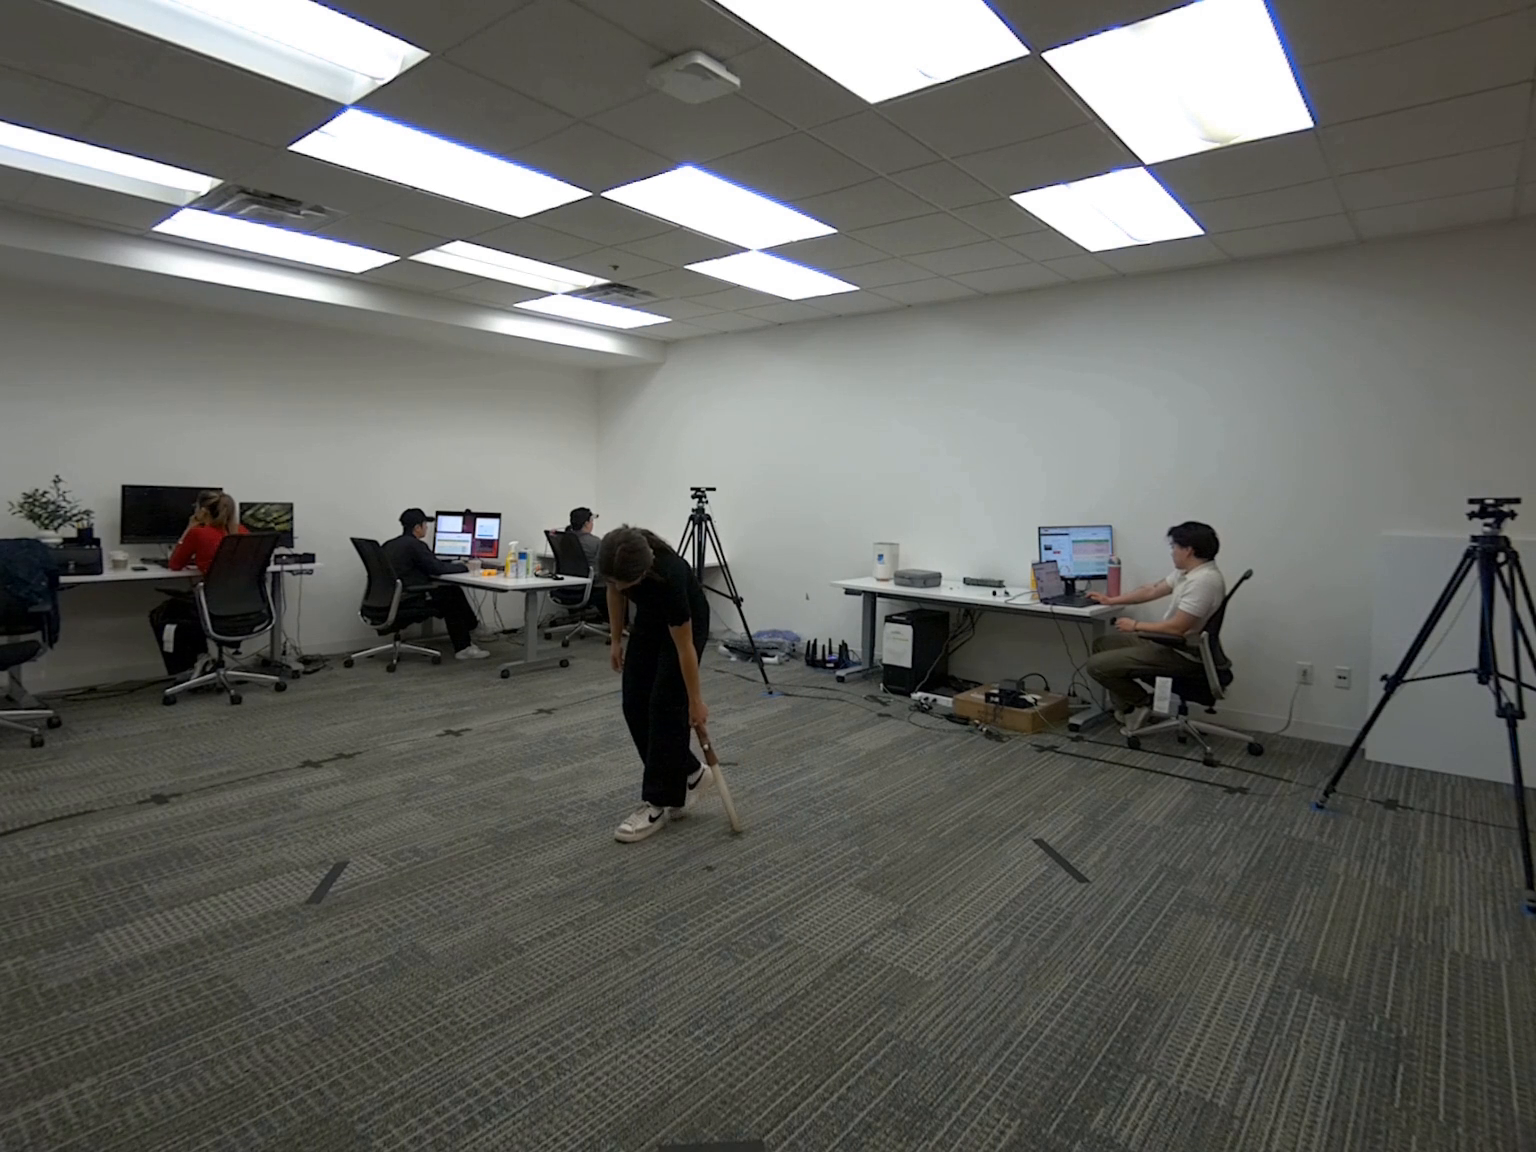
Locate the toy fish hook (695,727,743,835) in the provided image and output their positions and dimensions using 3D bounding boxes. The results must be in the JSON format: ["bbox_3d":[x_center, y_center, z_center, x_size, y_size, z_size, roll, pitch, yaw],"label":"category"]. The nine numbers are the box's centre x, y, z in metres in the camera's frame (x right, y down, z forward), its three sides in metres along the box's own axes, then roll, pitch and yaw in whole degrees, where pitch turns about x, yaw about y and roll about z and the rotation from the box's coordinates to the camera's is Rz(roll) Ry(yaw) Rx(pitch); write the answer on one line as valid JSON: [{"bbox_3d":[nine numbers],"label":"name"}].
[{"bbox_3d":[-0.222,0.801,3.467,0.048,0.502,0.228,-21,7,-10],"label":"toy fish hook"}]
